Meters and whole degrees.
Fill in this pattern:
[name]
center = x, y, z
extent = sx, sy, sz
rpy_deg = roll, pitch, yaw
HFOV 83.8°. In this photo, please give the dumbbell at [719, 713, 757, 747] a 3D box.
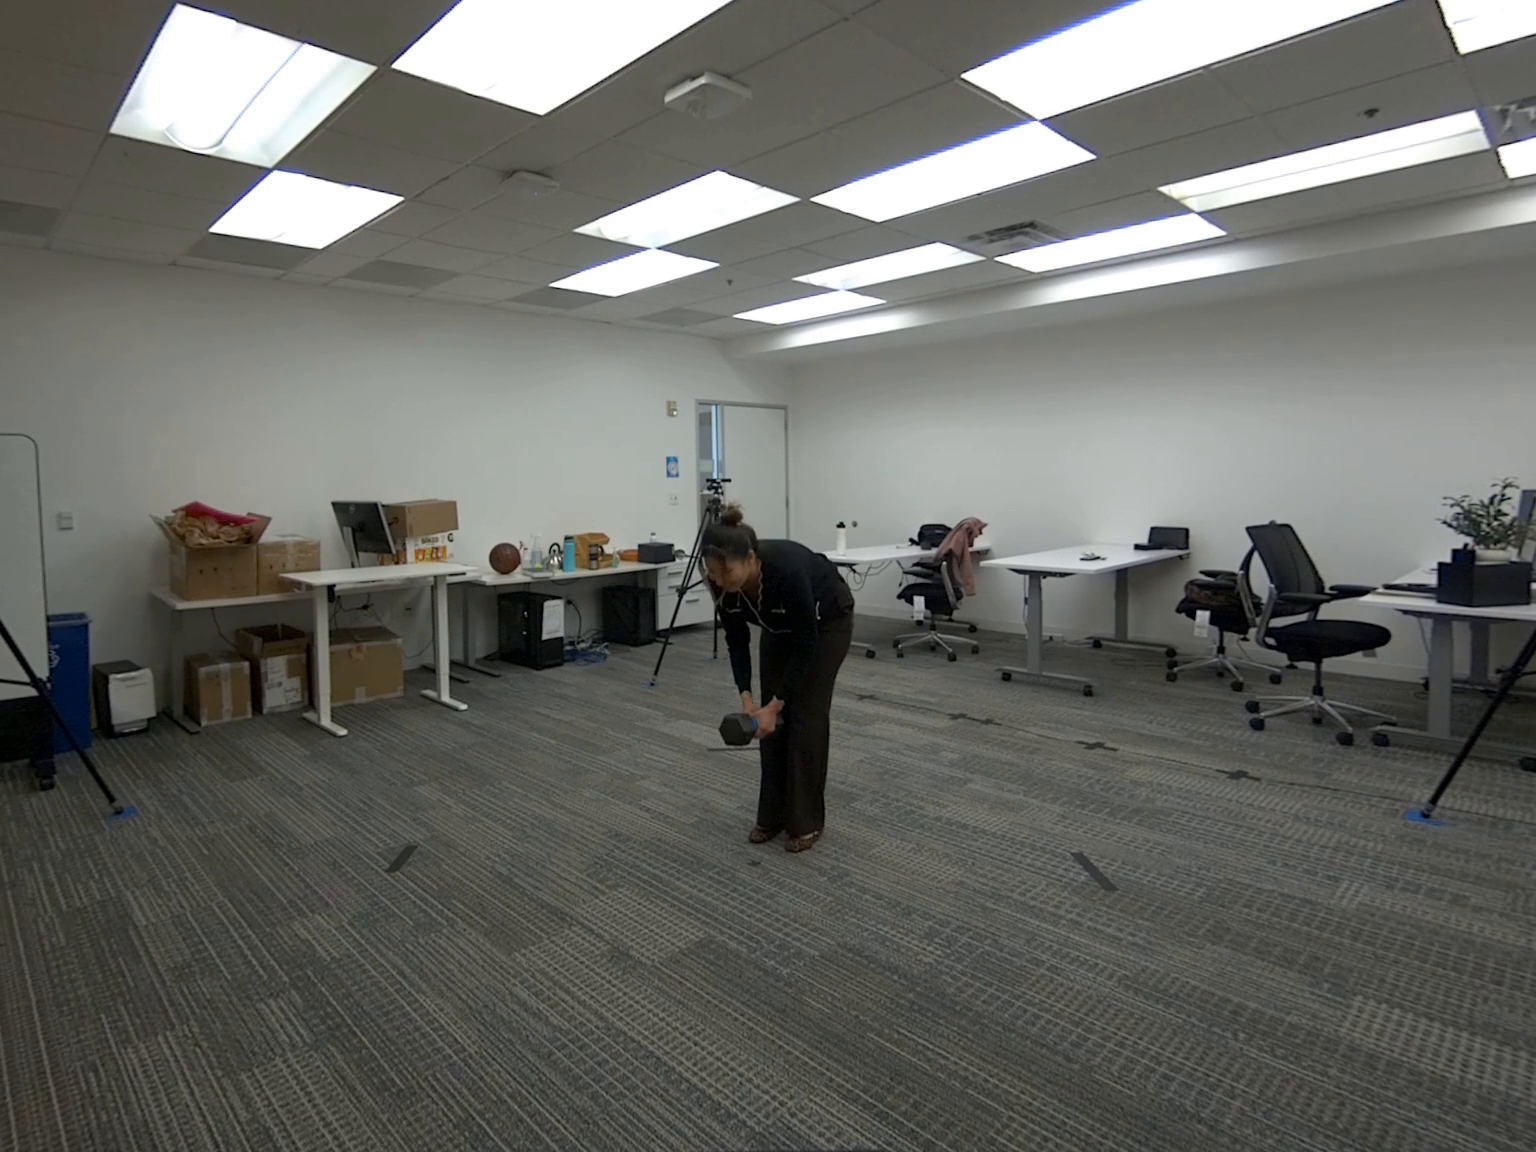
[dumbbell]
center = -0.059, 0.547, 3.100
extent = 0.112, 0.122, 0.285
rpy_deg = 29, 11, 27
